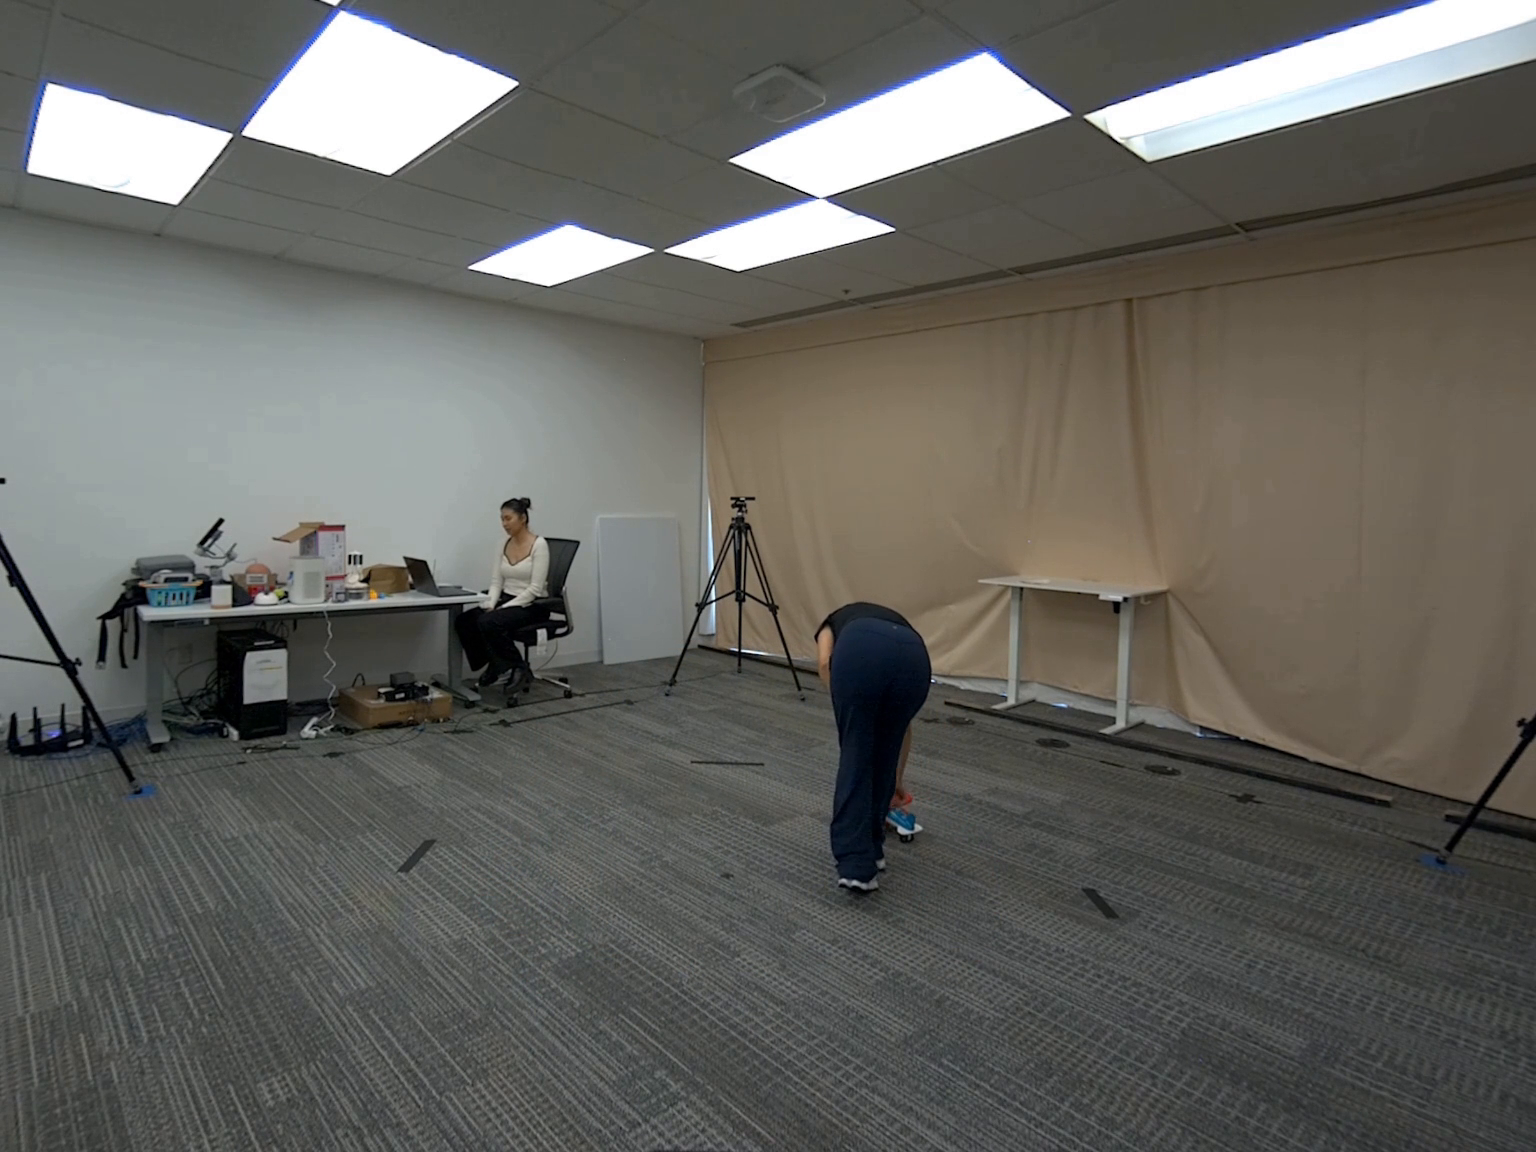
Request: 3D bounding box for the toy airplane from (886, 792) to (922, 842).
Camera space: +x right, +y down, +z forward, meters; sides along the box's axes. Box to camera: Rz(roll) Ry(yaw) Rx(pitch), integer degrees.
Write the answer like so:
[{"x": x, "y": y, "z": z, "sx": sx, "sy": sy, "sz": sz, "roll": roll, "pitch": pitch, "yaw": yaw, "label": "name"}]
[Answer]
[{"x": 0.529, "y": 1.014, "z": 3.539, "sx": 0.264, "sy": 0.156, "sz": 0.246, "roll": 2, "pitch": 5, "yaw": 28, "label": "toy airplane"}]
